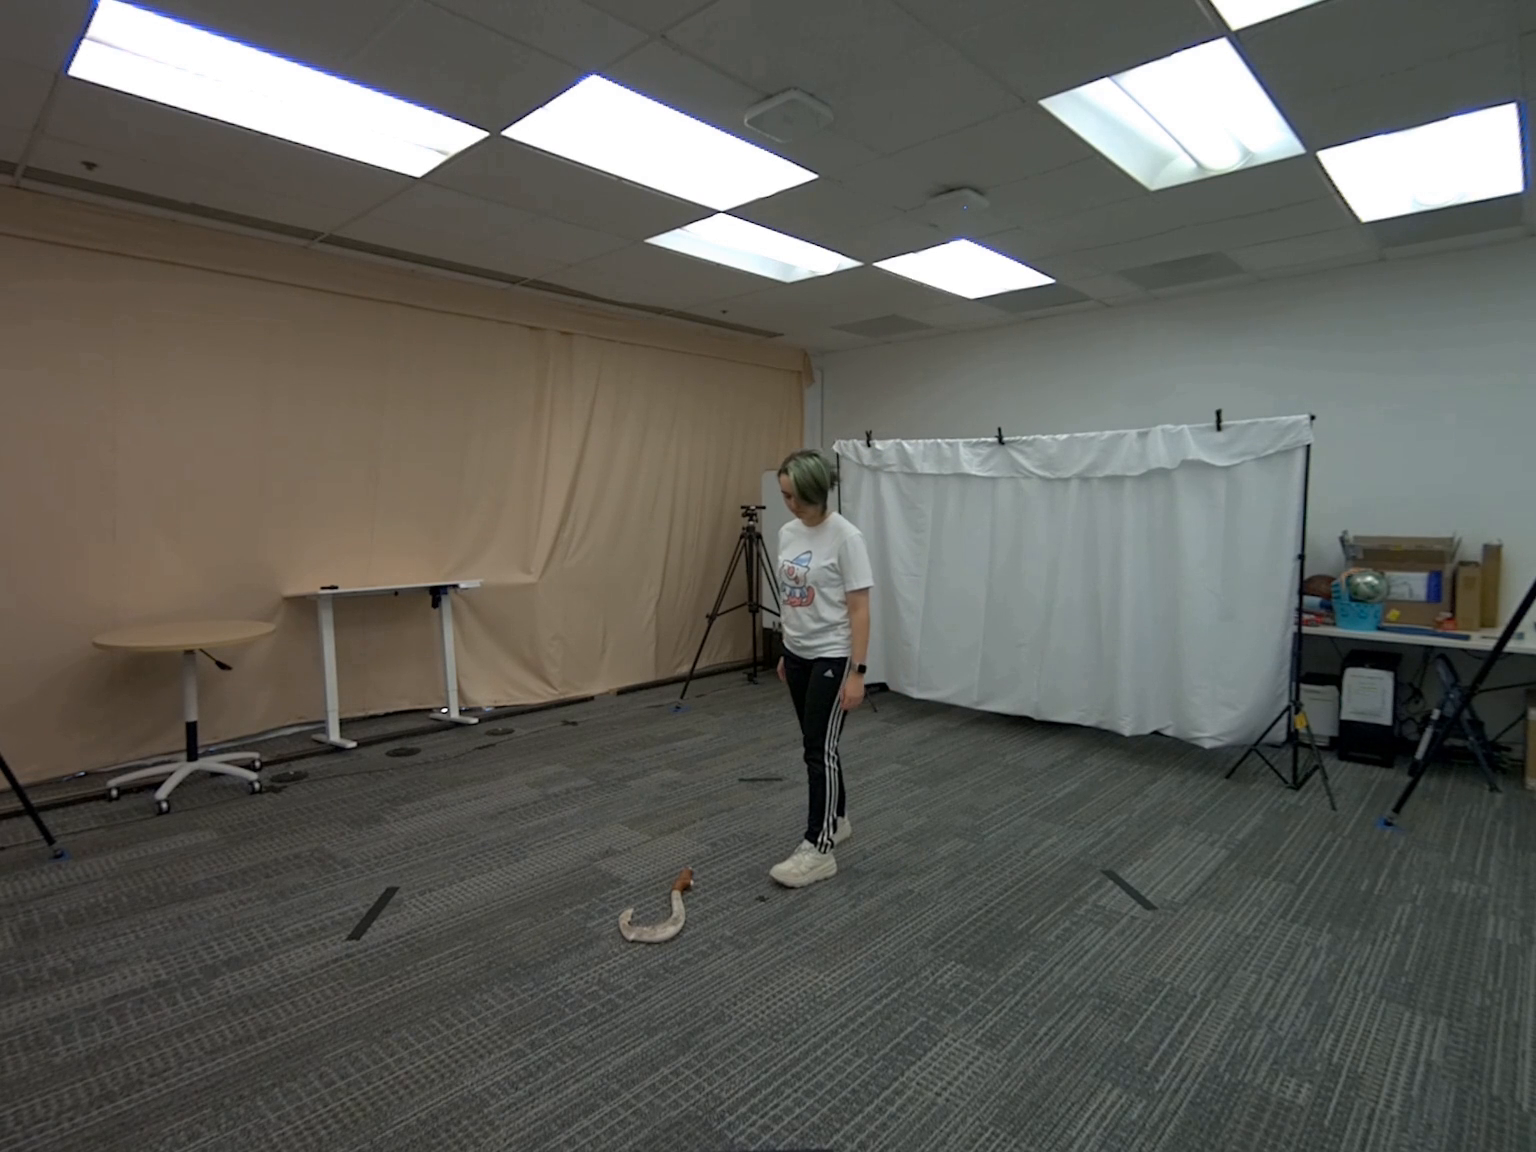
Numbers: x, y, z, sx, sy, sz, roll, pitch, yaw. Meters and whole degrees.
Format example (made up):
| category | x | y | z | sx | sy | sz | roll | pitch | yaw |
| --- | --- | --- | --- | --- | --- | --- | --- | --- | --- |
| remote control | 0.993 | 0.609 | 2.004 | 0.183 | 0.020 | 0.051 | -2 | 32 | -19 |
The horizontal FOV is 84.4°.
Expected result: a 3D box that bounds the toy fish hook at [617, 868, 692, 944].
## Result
| category | x | y | z | sx | sy | sz | roll | pitch | yaw |
| --- | --- | --- | --- | --- | --- | --- | --- | --- | --- |
| toy fish hook | -0.376 | 1.131 | 2.920 | 0.226 | 0.048 | 0.504 | 2 | 5 | 6 |
